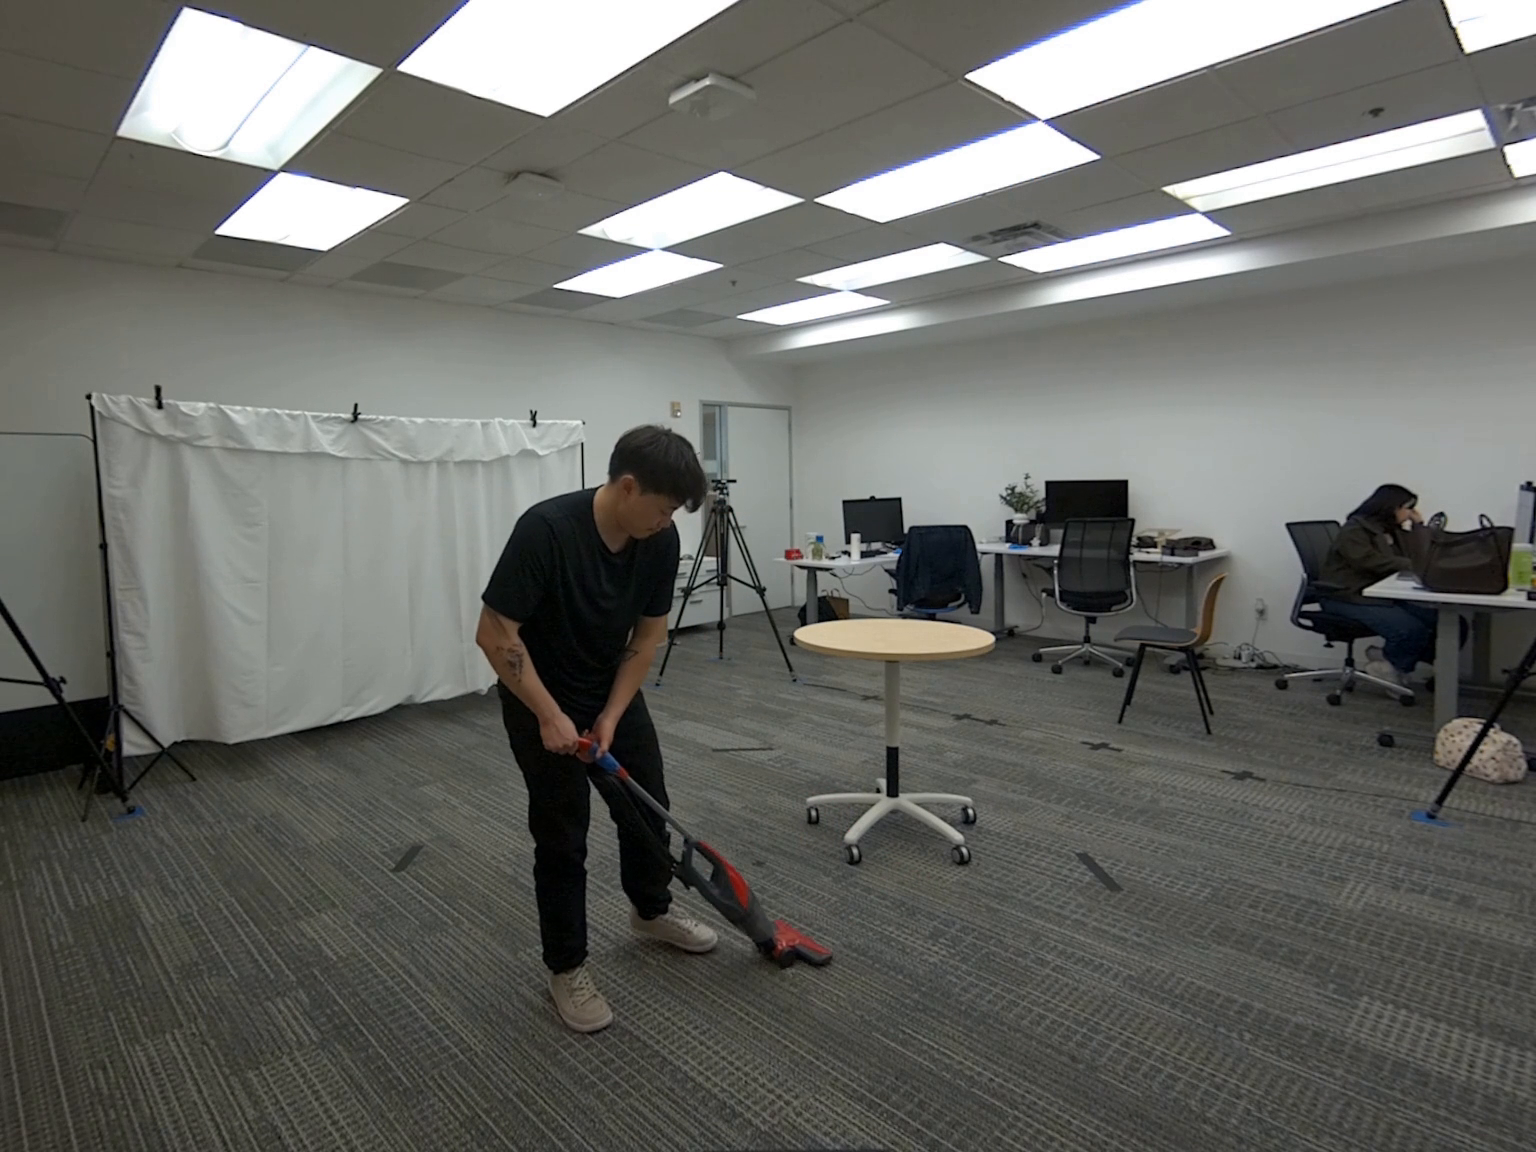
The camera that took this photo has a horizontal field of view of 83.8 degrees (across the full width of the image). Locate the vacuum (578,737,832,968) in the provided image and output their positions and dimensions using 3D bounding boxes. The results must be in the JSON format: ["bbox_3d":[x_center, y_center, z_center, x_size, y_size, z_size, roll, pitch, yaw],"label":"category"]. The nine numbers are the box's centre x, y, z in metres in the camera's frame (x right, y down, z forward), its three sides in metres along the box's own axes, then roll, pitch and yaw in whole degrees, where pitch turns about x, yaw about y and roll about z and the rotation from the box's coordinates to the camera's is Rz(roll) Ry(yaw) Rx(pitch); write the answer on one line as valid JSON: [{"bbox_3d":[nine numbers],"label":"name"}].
[{"bbox_3d":[-0.203,0.756,2.304,1.015,0.144,0.261,49,-20,-29],"label":"vacuum"}]
